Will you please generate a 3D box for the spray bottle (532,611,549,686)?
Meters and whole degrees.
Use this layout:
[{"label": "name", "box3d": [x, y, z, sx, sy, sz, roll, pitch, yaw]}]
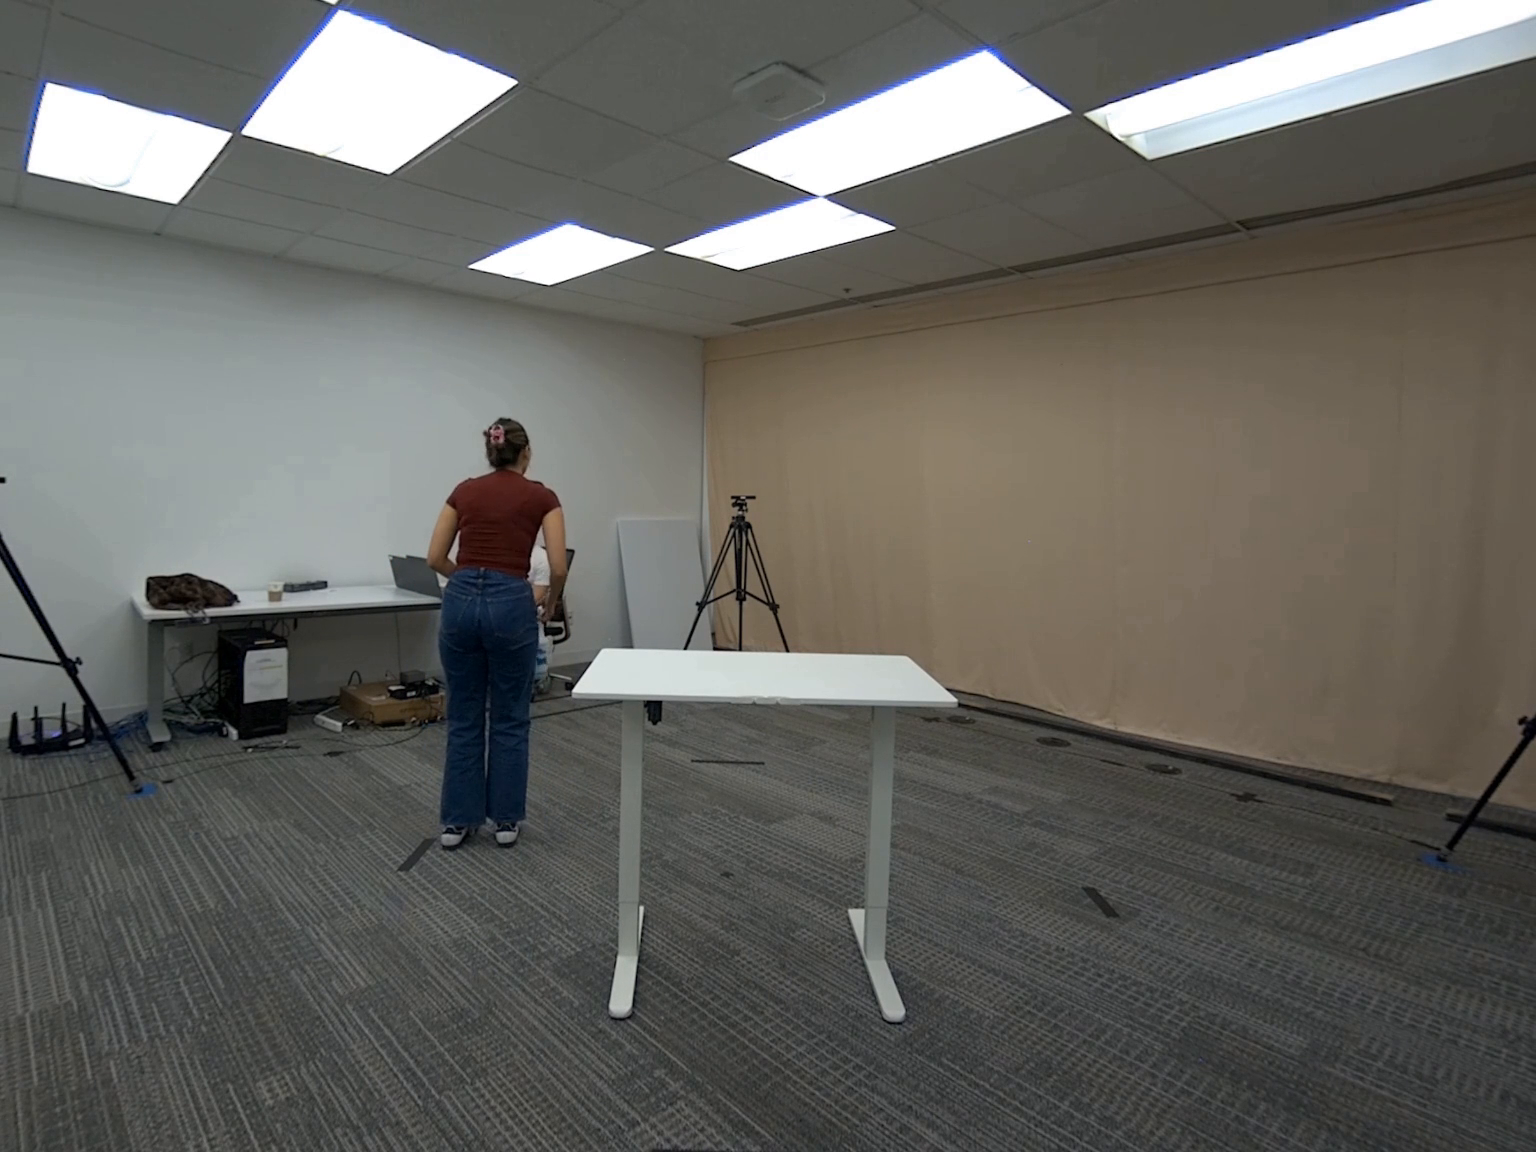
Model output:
[{"label": "spray bottle", "box3d": [-0.992, 0.298, 3.567, 0.088, 0.296, 0.089, 5, 7, 21]}]
